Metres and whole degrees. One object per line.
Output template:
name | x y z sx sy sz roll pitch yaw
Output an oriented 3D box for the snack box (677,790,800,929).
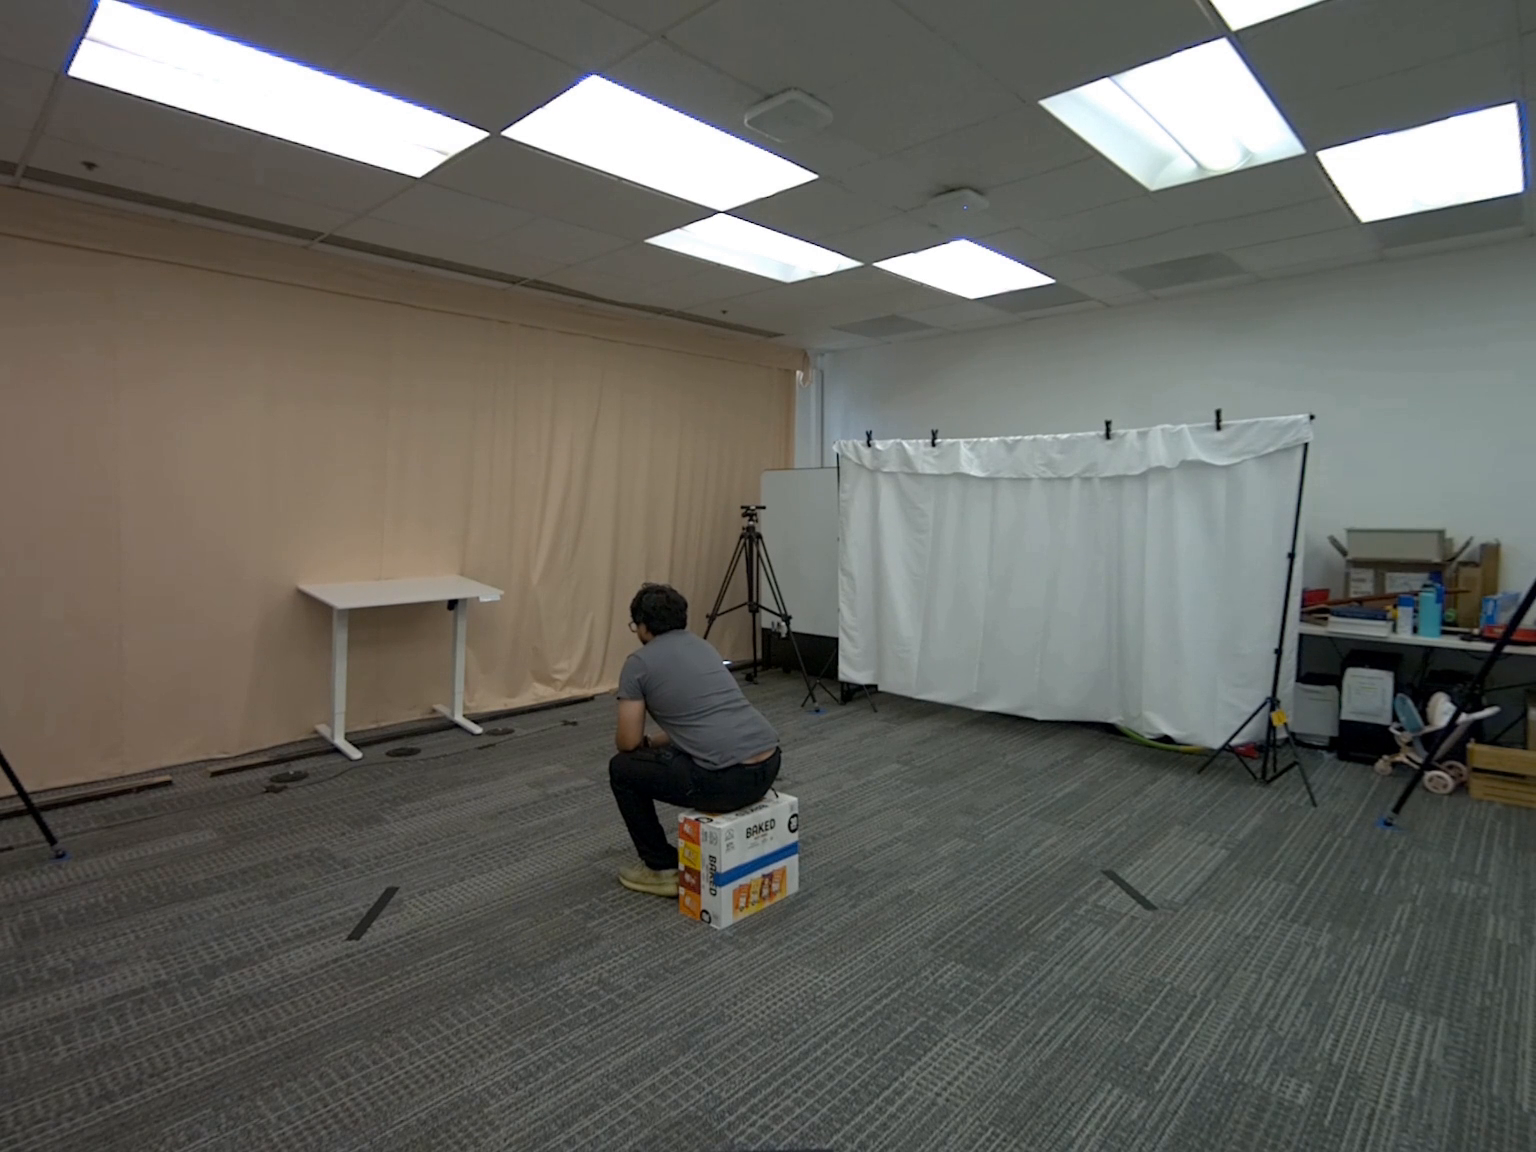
snack box | -0.092 0.979 2.962 0.212 0.340 0.393 2 4 43
